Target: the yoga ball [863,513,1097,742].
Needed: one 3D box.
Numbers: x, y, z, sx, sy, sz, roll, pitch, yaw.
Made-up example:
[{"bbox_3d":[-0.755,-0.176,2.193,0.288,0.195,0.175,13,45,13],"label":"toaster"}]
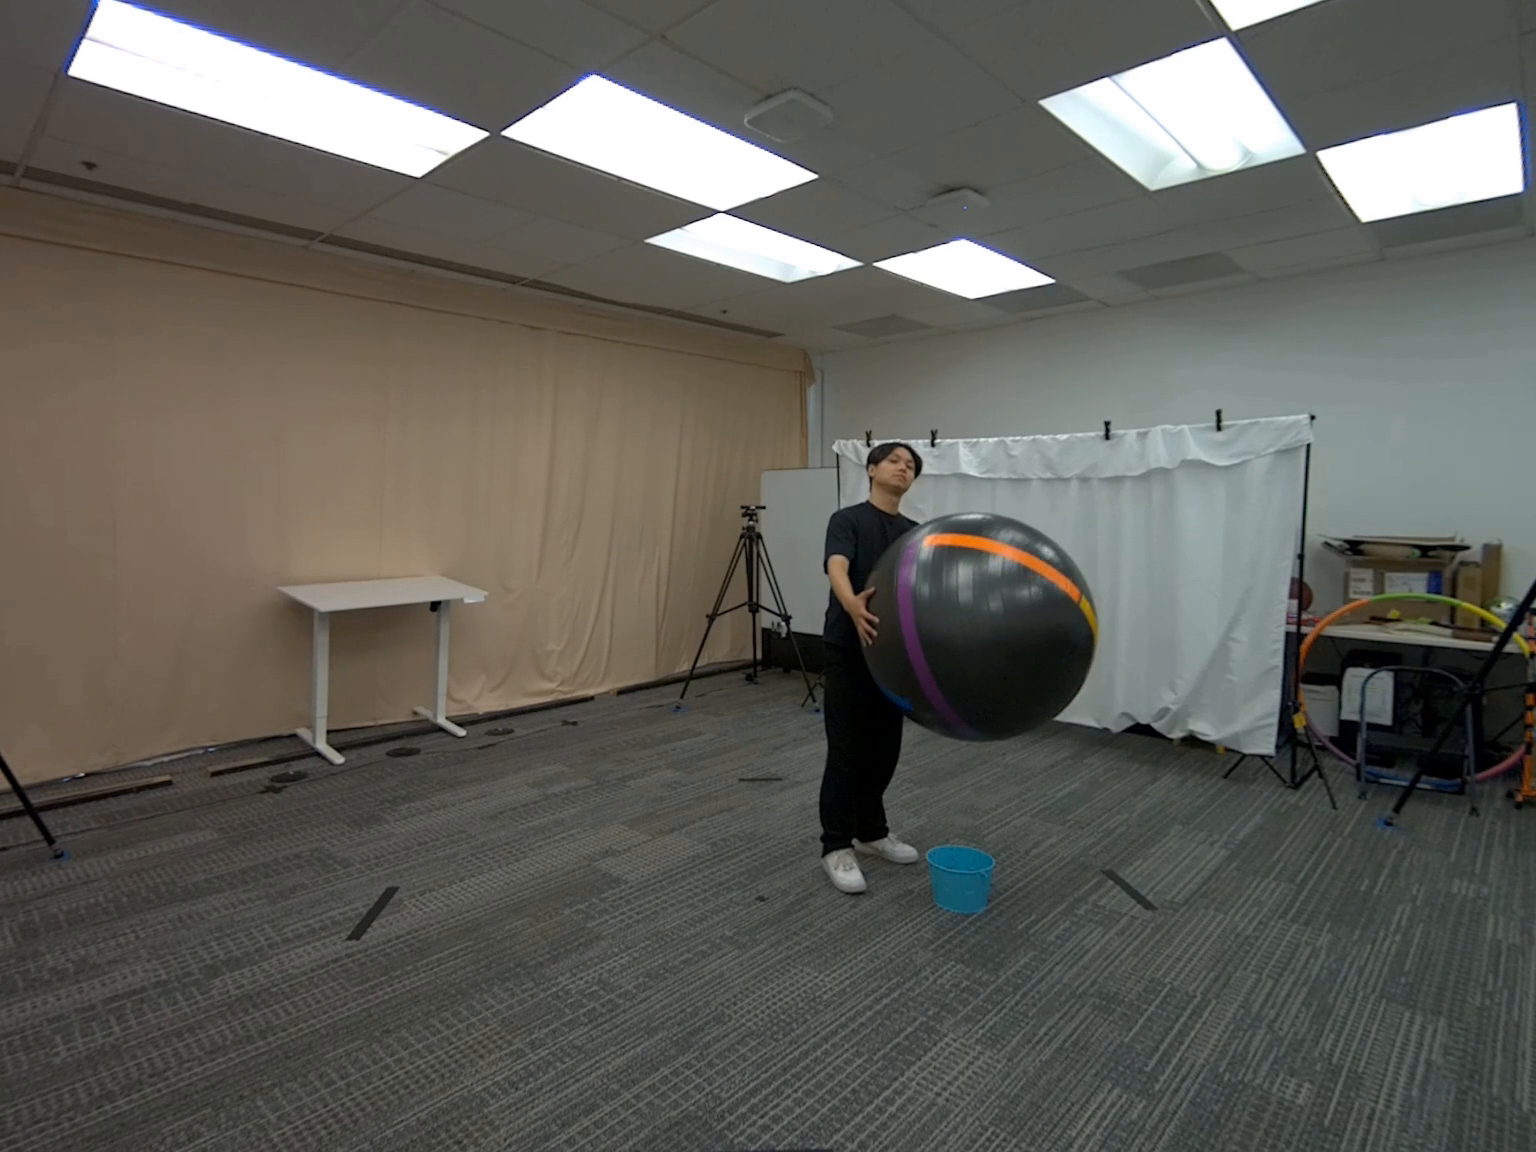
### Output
[{"bbox_3d":[0.704,0.171,2.819,0.757,0.756,0.760,0,4,-2],"label":"yoga ball"}]
